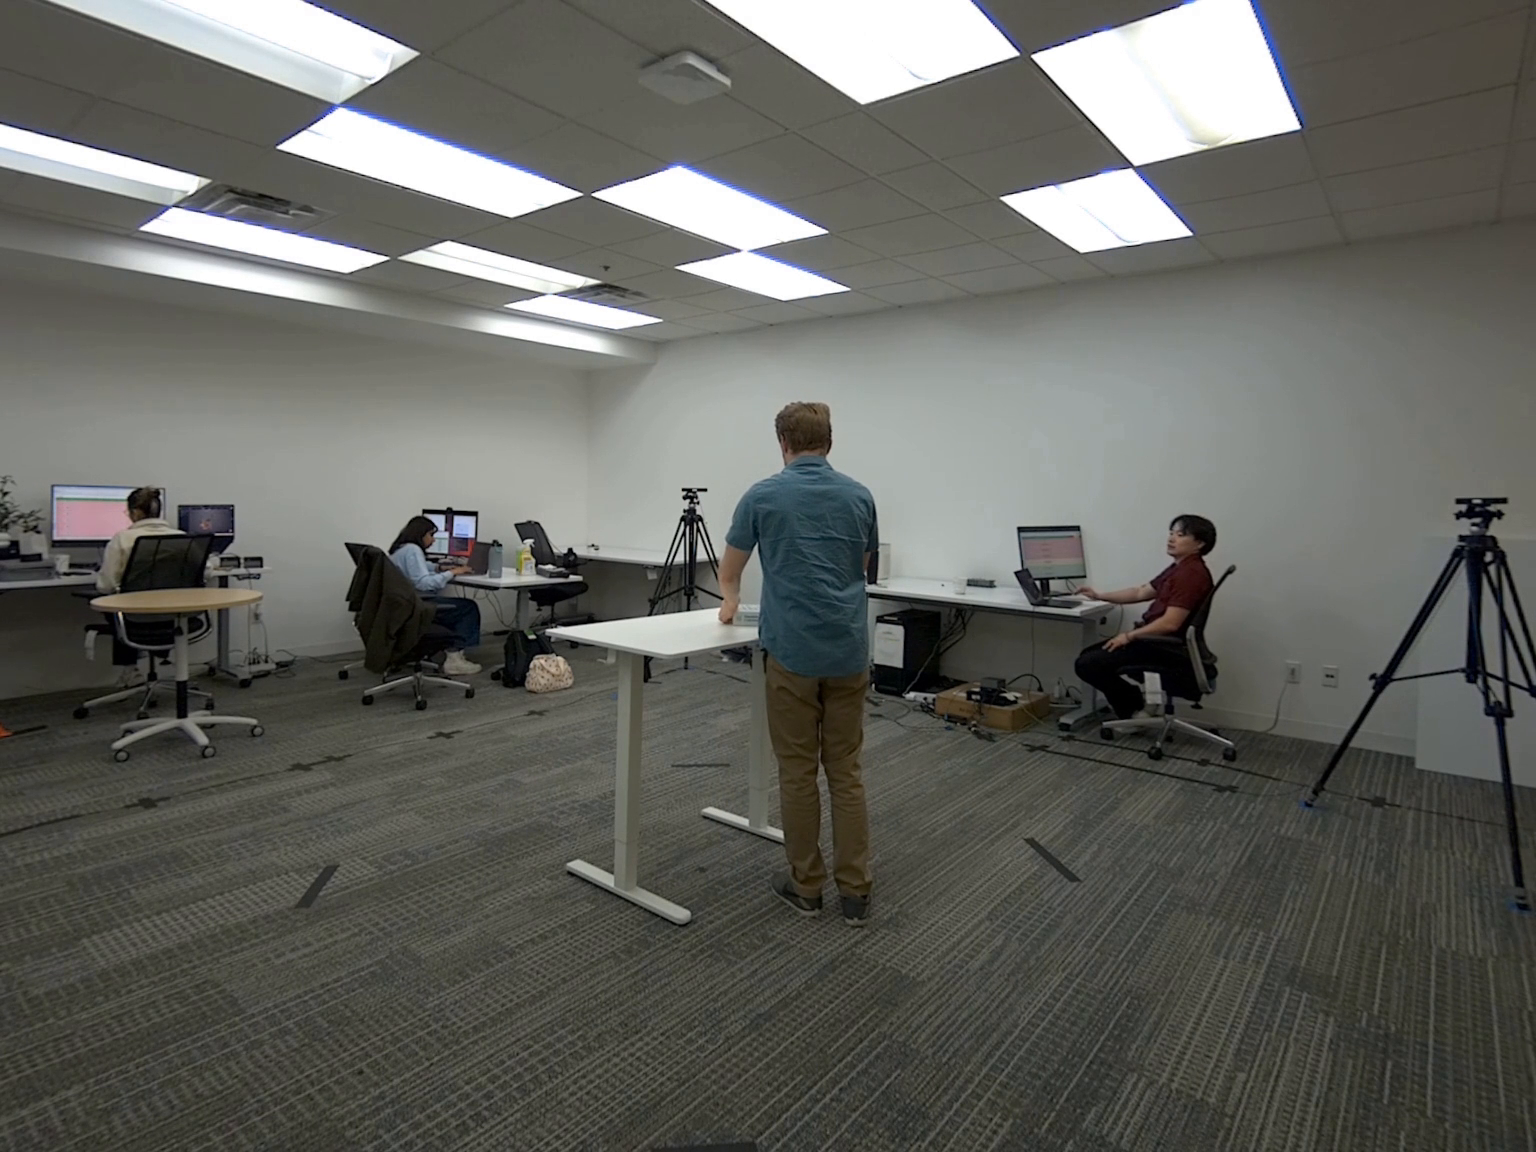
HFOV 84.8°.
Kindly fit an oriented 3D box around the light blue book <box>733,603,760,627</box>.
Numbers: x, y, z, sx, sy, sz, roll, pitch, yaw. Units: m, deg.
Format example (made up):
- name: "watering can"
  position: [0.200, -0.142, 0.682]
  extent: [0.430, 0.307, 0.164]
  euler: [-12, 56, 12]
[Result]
- name: "light blue book"
  position: [-0.007, 0.152, 3.280]
  extent: [0.259, 0.059, 0.194]
  euler: [1, 6, -9]
